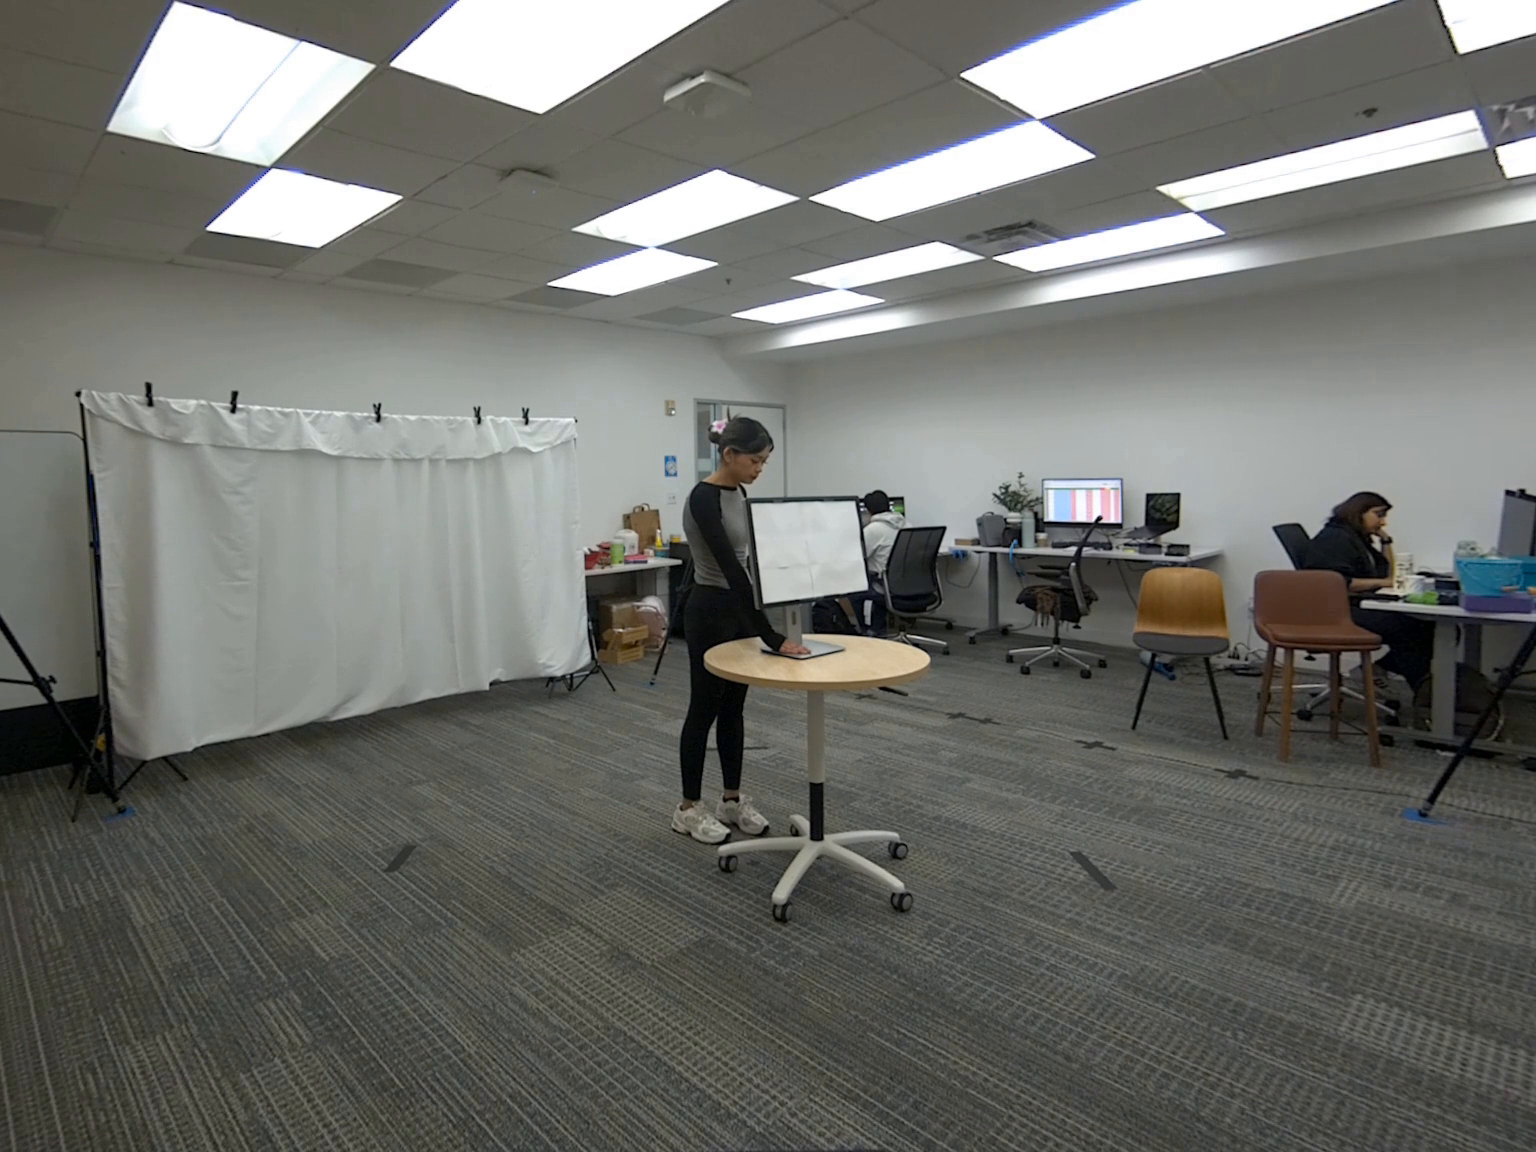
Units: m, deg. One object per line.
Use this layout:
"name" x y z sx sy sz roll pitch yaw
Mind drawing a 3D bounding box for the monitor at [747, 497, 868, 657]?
"monitor" 0.121 -0.003 2.981 0.525 0.520 0.193 -5 7 -44
